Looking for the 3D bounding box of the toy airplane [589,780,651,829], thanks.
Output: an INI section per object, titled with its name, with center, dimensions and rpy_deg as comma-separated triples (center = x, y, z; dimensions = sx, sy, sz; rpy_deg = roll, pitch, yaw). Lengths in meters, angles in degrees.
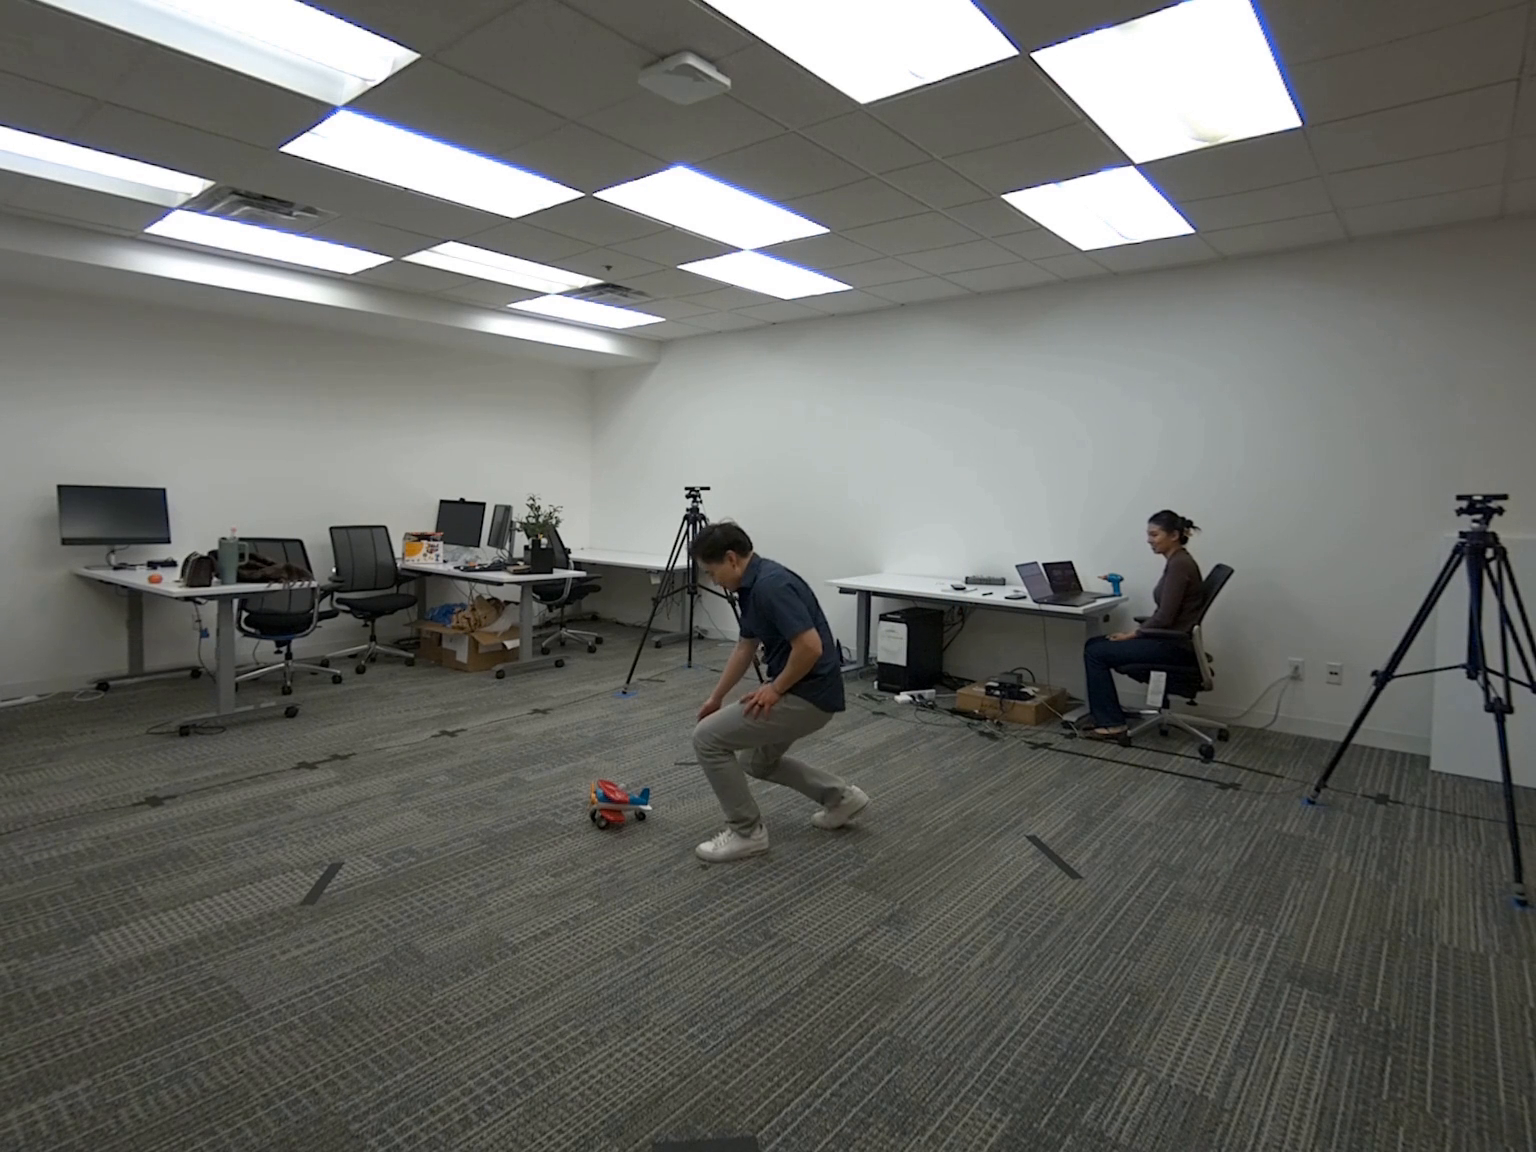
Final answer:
[toy airplane]
center = -0.636, 0.943, 3.546
dimensions = 0.259, 0.155, 0.252
rpy_deg = 4, 8, 36
